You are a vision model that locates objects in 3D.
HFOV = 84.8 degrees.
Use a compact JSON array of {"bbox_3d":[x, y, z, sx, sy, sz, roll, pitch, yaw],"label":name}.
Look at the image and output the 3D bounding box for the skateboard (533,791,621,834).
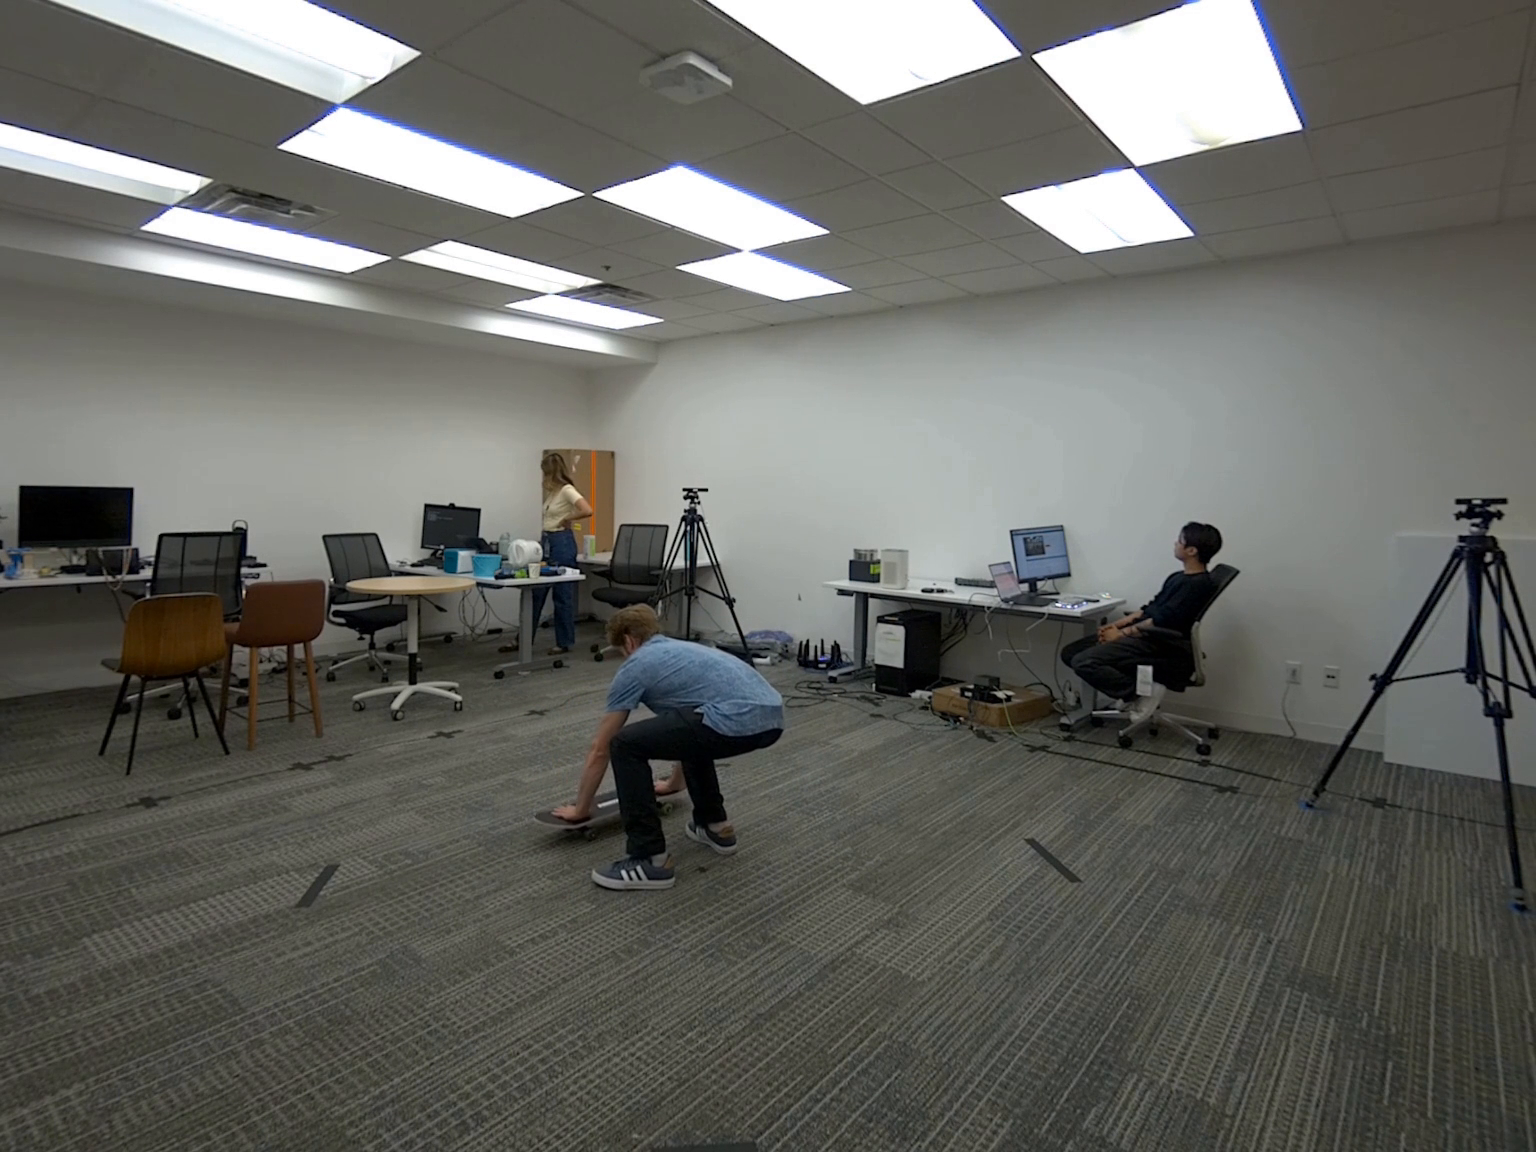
[{"bbox_3d":[-0.633,0.963,3.539,0.200,0.110,0.762,4,6,43],"label":"skateboard"}]
